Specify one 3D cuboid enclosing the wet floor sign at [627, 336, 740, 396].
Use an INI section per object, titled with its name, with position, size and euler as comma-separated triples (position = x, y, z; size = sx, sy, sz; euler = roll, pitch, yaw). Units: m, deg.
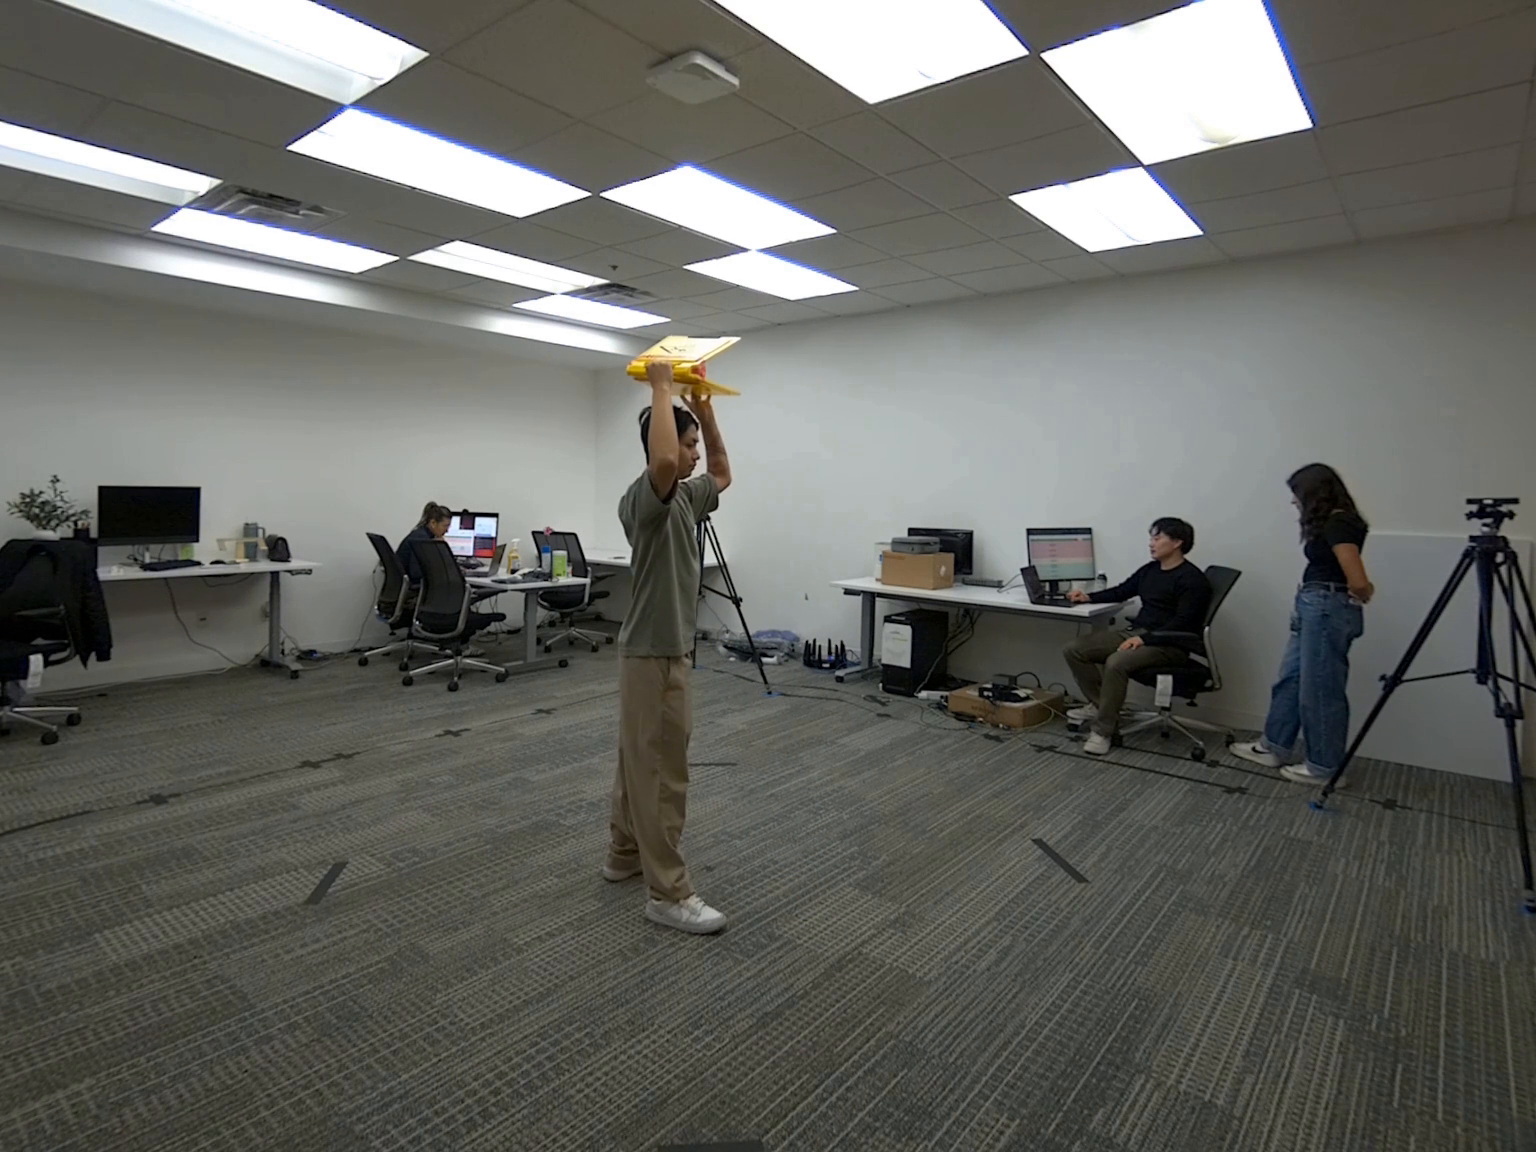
[wet floor sign]
position = -0.308, -0.712, 2.902
size = 0.285, 0.286, 0.647
euler = 2, 14, 8
